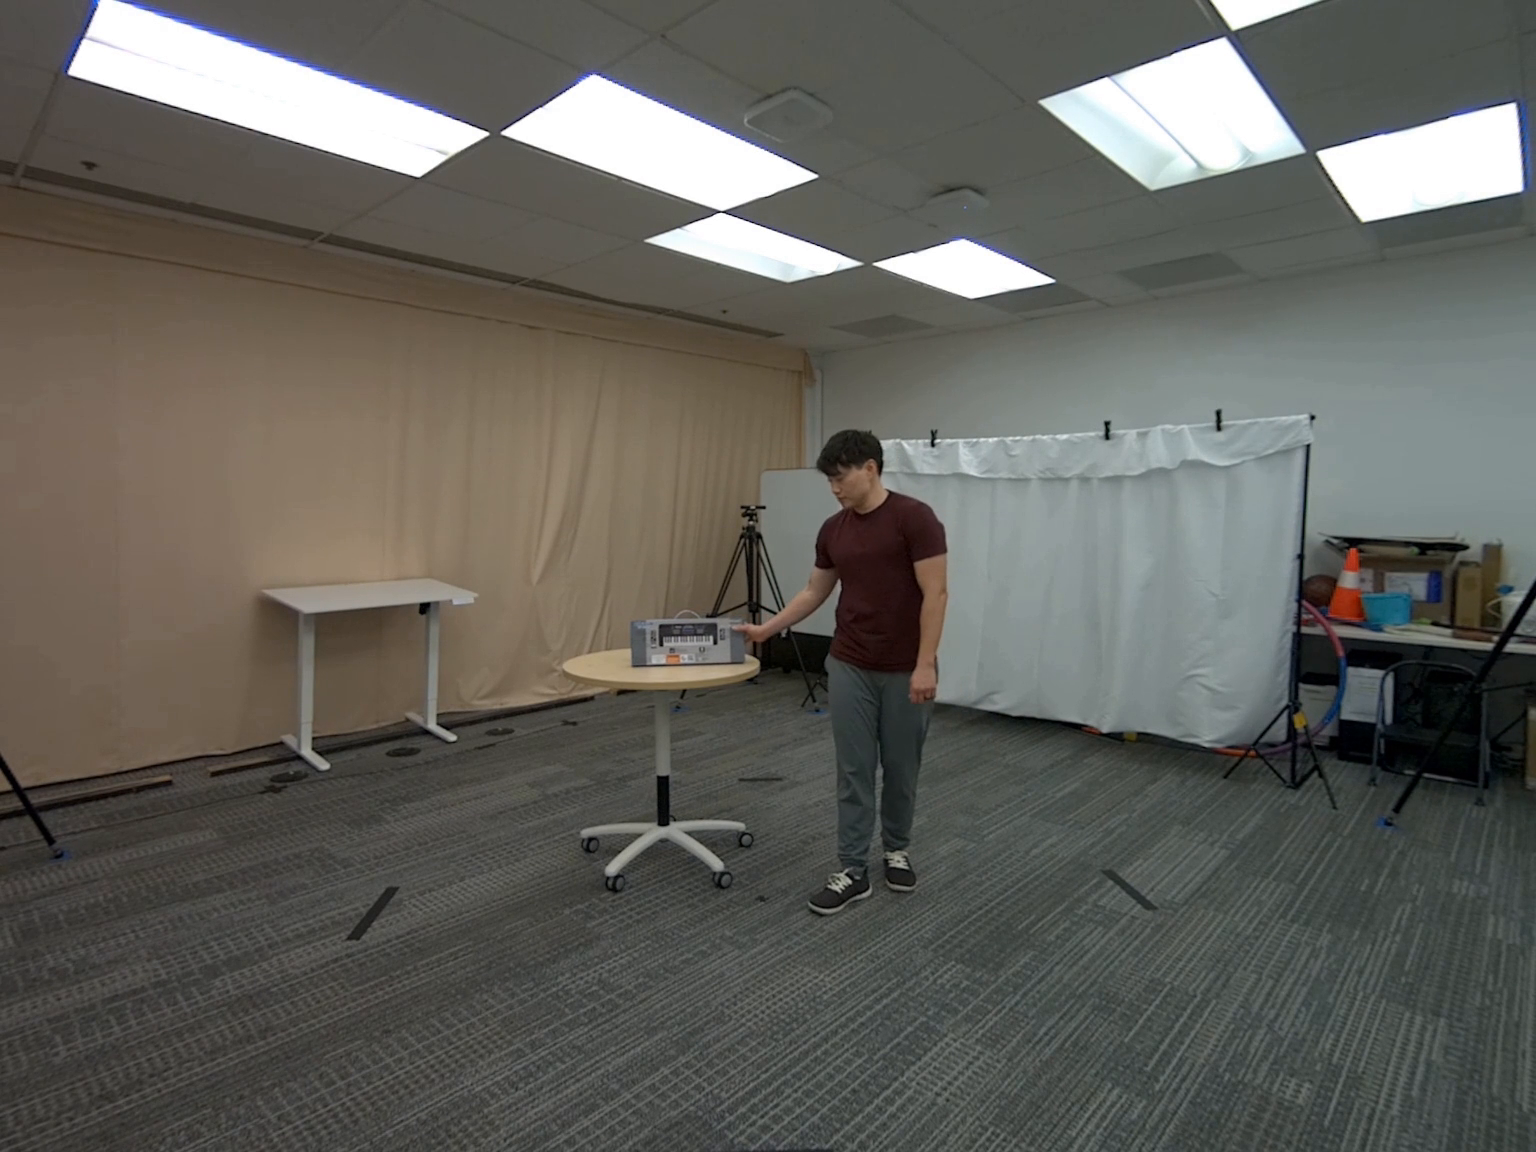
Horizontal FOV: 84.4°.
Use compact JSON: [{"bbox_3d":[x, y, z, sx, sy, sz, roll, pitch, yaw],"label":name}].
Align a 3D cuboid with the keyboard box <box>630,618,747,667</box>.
[{"bbox_3d":[-0.310,0.255,3.254,0.434,0.176,0.059,-1,-5,-6],"label":"keyboard box"}]
